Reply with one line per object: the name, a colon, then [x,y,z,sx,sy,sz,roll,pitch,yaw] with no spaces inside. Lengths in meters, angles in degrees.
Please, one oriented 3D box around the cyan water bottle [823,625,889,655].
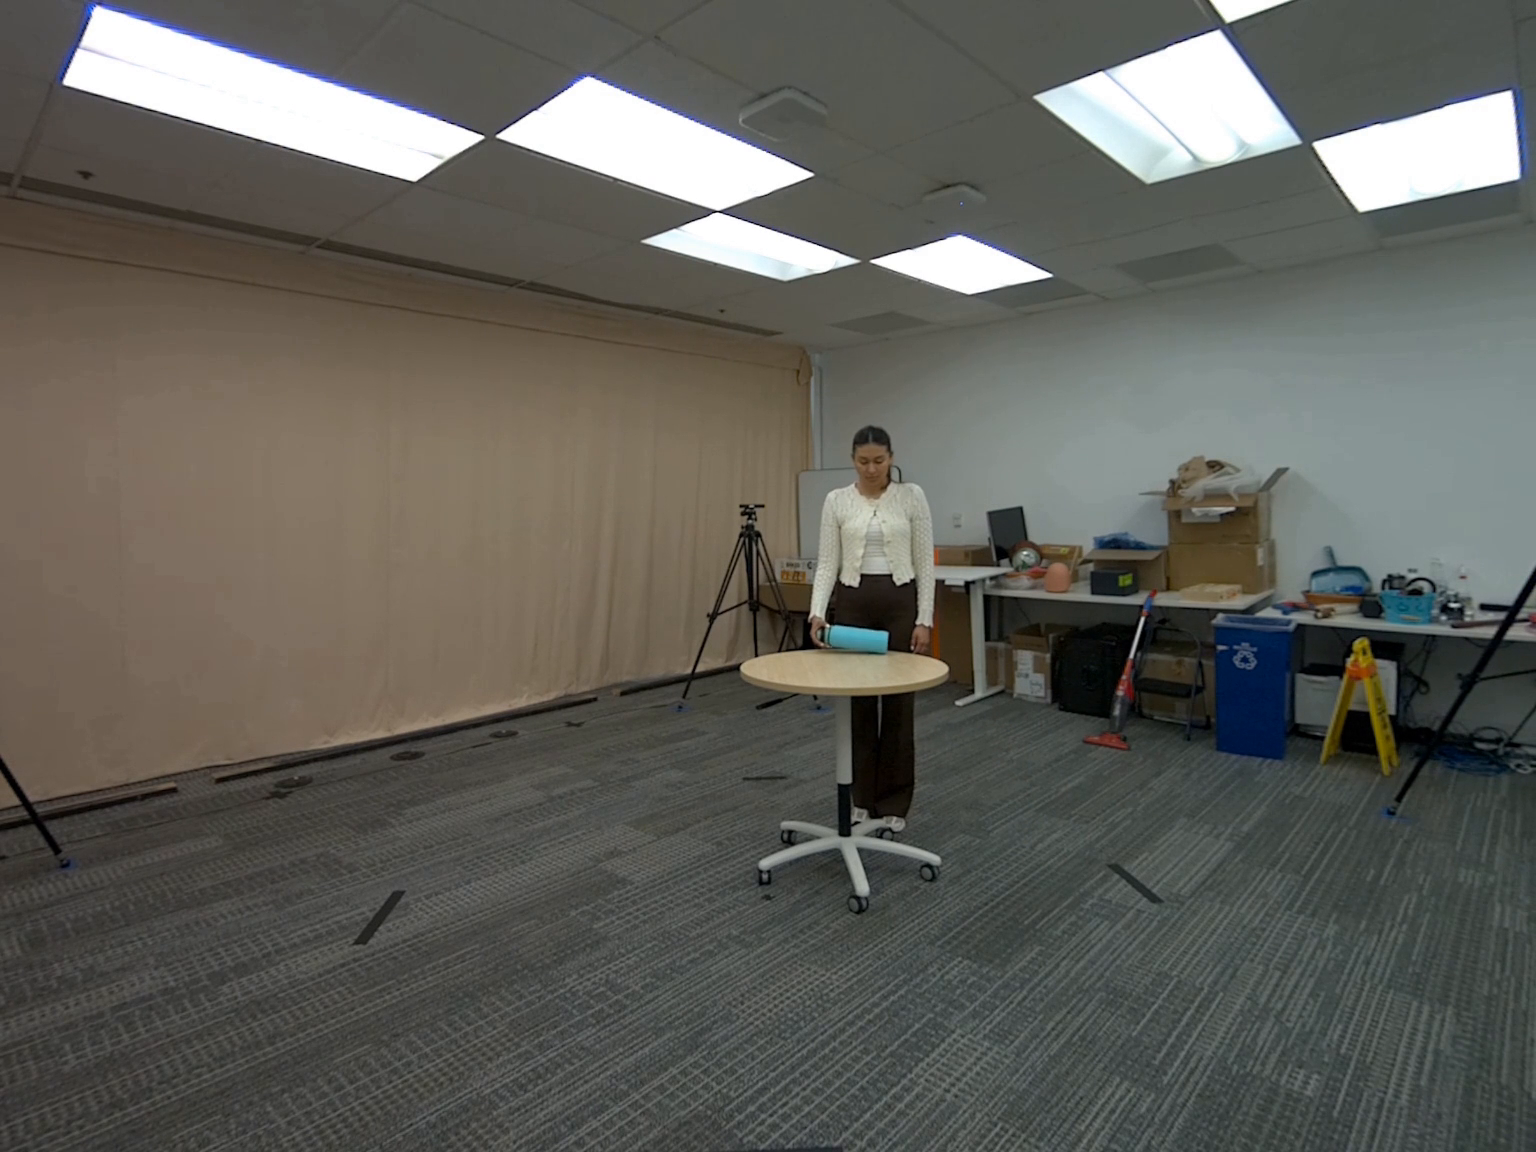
cyan water bottle: [0.357,0.253,3.423,0.288,0.092,0.091,5,5,13]
